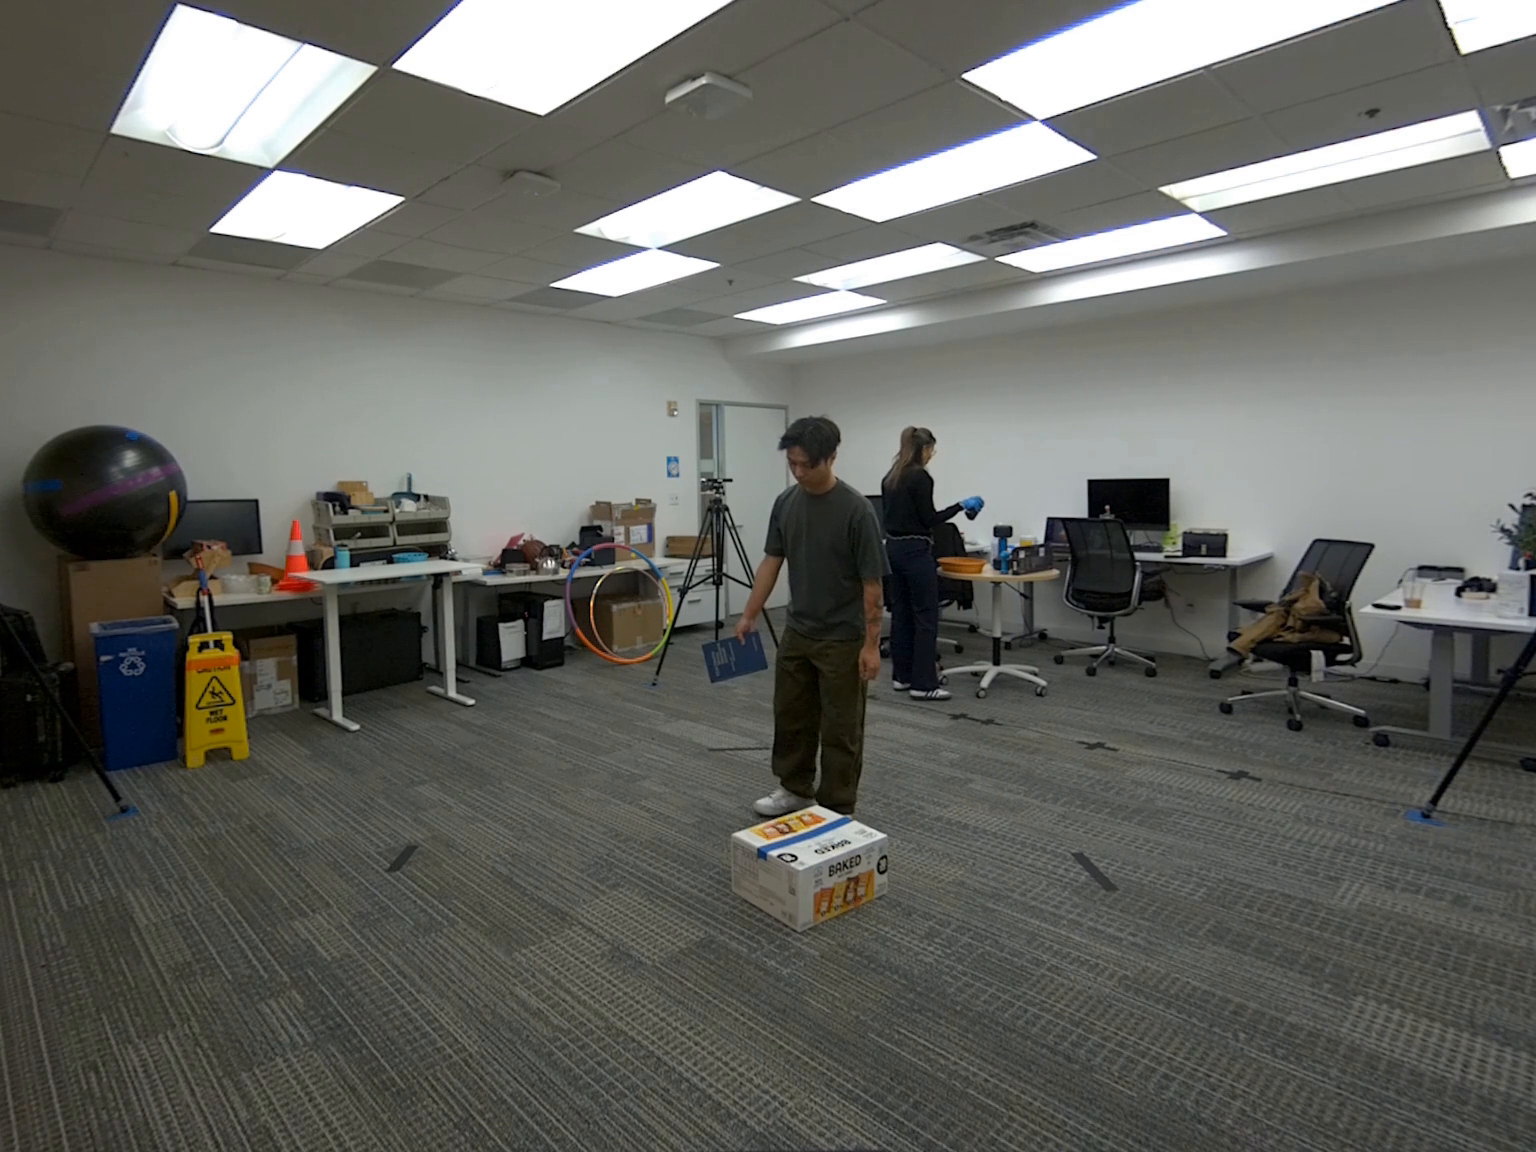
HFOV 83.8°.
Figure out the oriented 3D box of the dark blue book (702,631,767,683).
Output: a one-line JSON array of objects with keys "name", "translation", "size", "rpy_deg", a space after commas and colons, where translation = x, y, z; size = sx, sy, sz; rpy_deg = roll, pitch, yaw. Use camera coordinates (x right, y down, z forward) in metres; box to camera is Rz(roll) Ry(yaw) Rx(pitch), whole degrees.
[{"name": "dark blue book", "translation": [-0.132, 0.339, 3.548], "size": [0.244, 0.165, 0.044], "rpy_deg": [-13, -12, -2]}]
